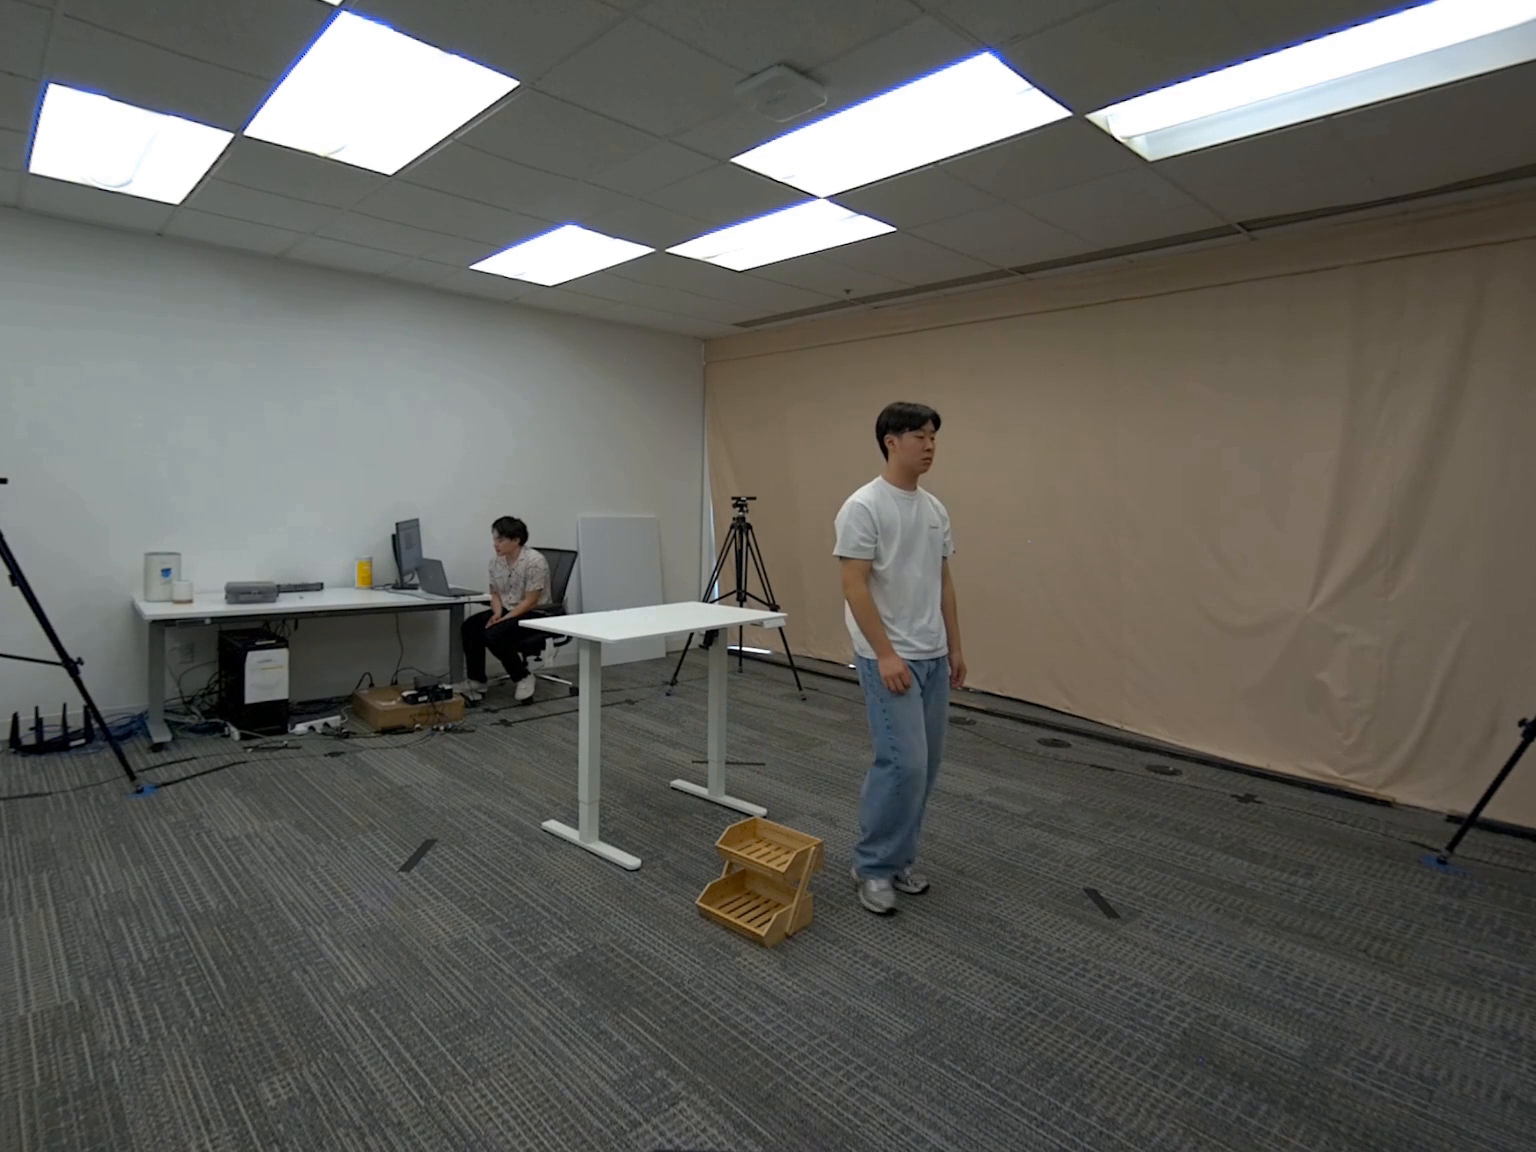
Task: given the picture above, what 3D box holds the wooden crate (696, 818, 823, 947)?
[{"bbox_3d":[-0.035,1.003,2.795,0.332,0.273,0.295,5,5,40],"label":"wooden crate"}]
